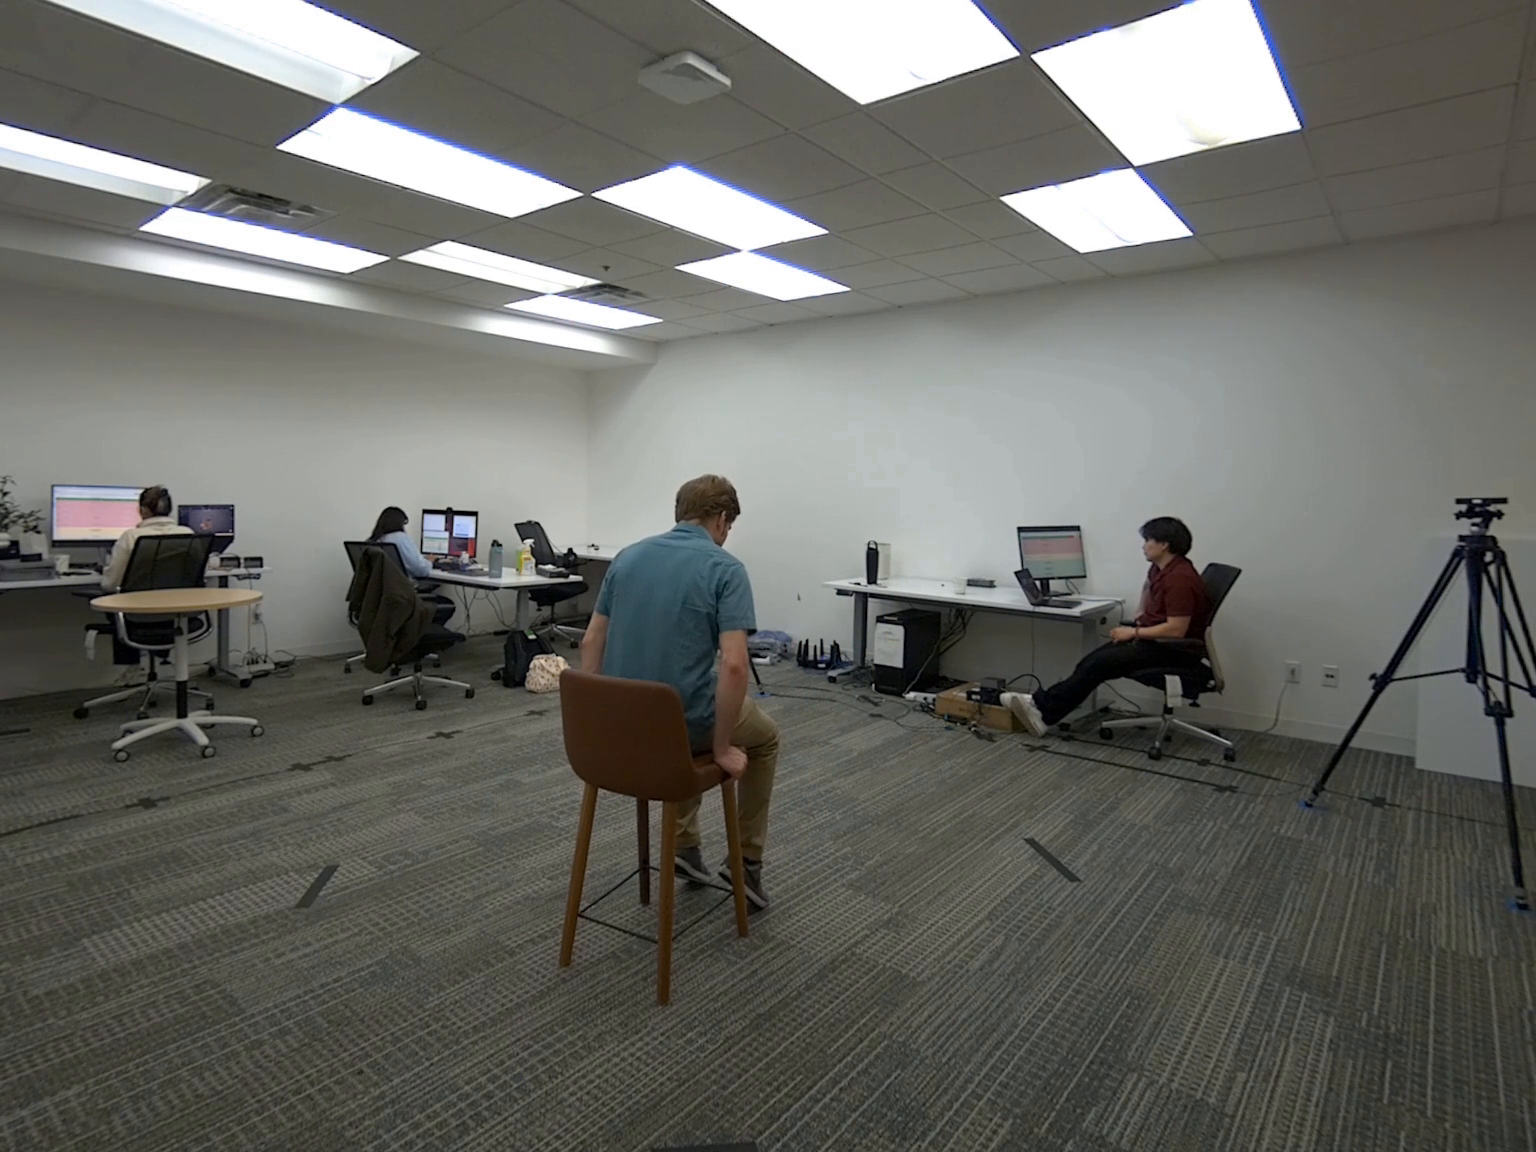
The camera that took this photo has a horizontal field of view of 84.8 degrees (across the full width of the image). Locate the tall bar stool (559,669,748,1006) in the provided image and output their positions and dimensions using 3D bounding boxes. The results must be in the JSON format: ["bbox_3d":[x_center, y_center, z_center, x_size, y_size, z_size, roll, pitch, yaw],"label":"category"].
[{"bbox_3d":[-0.355,0.690,2.538,0.469,0.886,0.457,2,6,29],"label":"tall bar stool"}]
